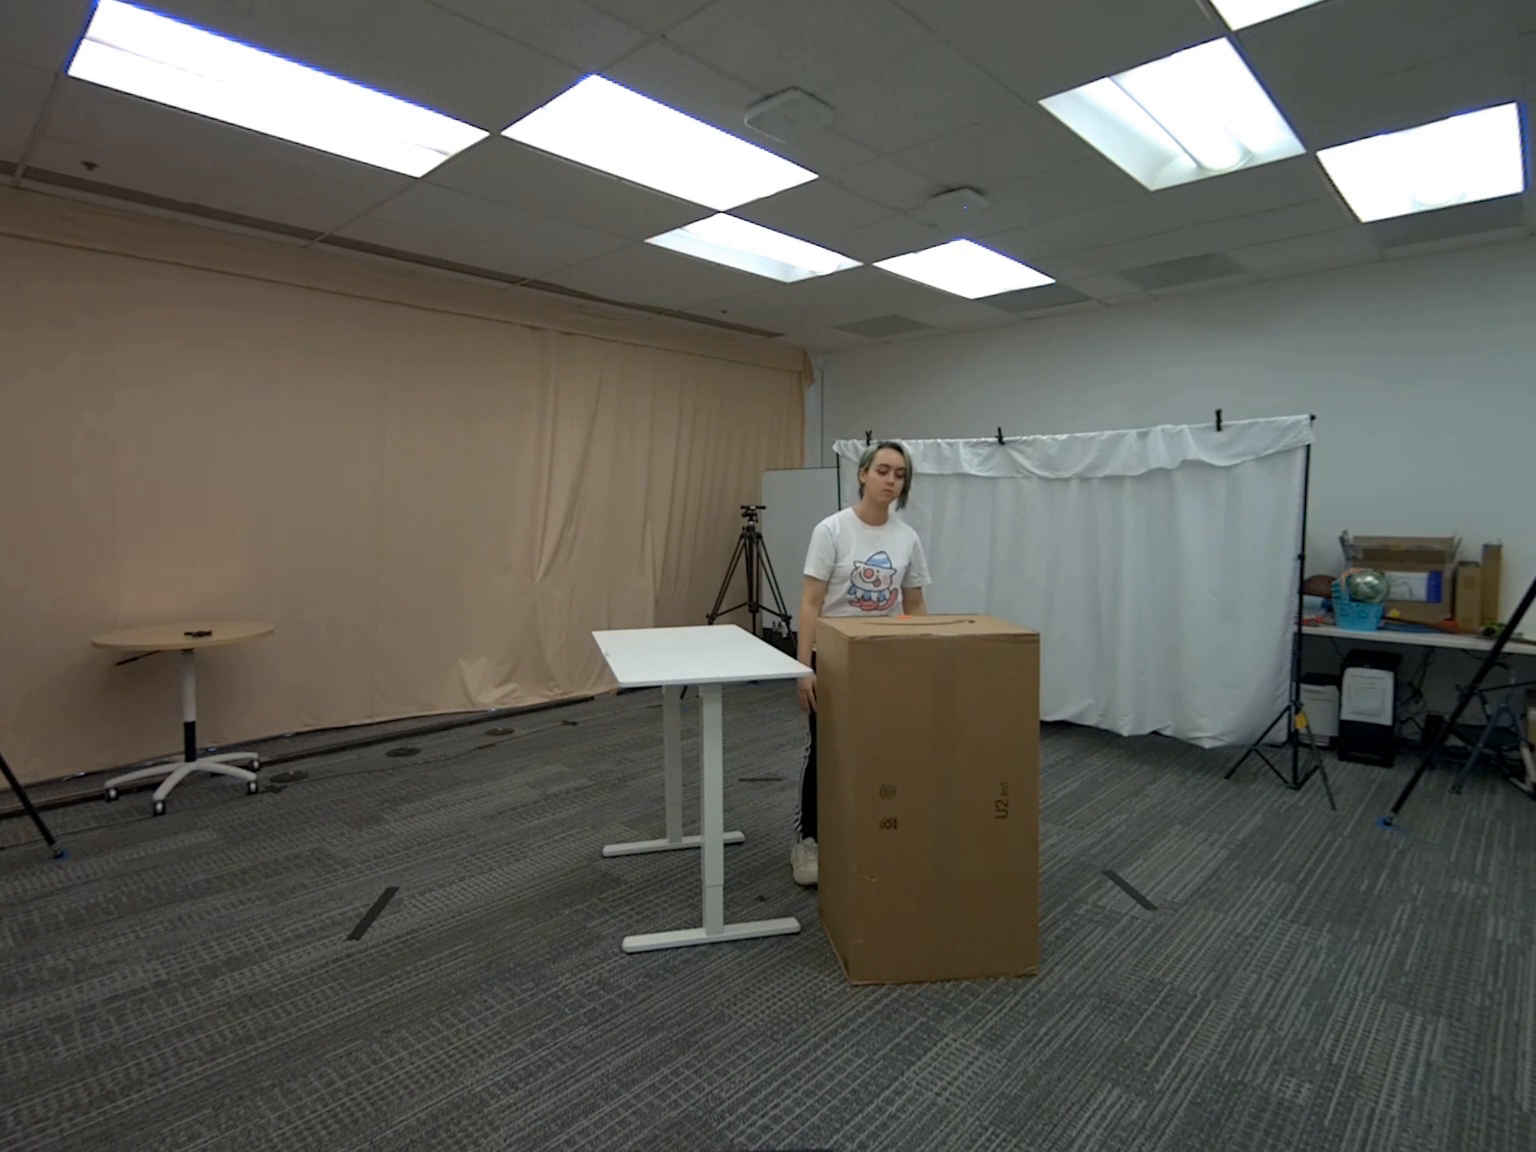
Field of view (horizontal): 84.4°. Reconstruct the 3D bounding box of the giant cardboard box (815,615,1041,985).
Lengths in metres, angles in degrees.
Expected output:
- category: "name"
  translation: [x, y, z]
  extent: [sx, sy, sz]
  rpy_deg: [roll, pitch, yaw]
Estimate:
- category: "giant cardboard box"
  translation: [0.485, 0.661, 2.649]
  extent: [0.579, 1.024, 0.451]
  rpy_deg: [-1, 4, -8]
